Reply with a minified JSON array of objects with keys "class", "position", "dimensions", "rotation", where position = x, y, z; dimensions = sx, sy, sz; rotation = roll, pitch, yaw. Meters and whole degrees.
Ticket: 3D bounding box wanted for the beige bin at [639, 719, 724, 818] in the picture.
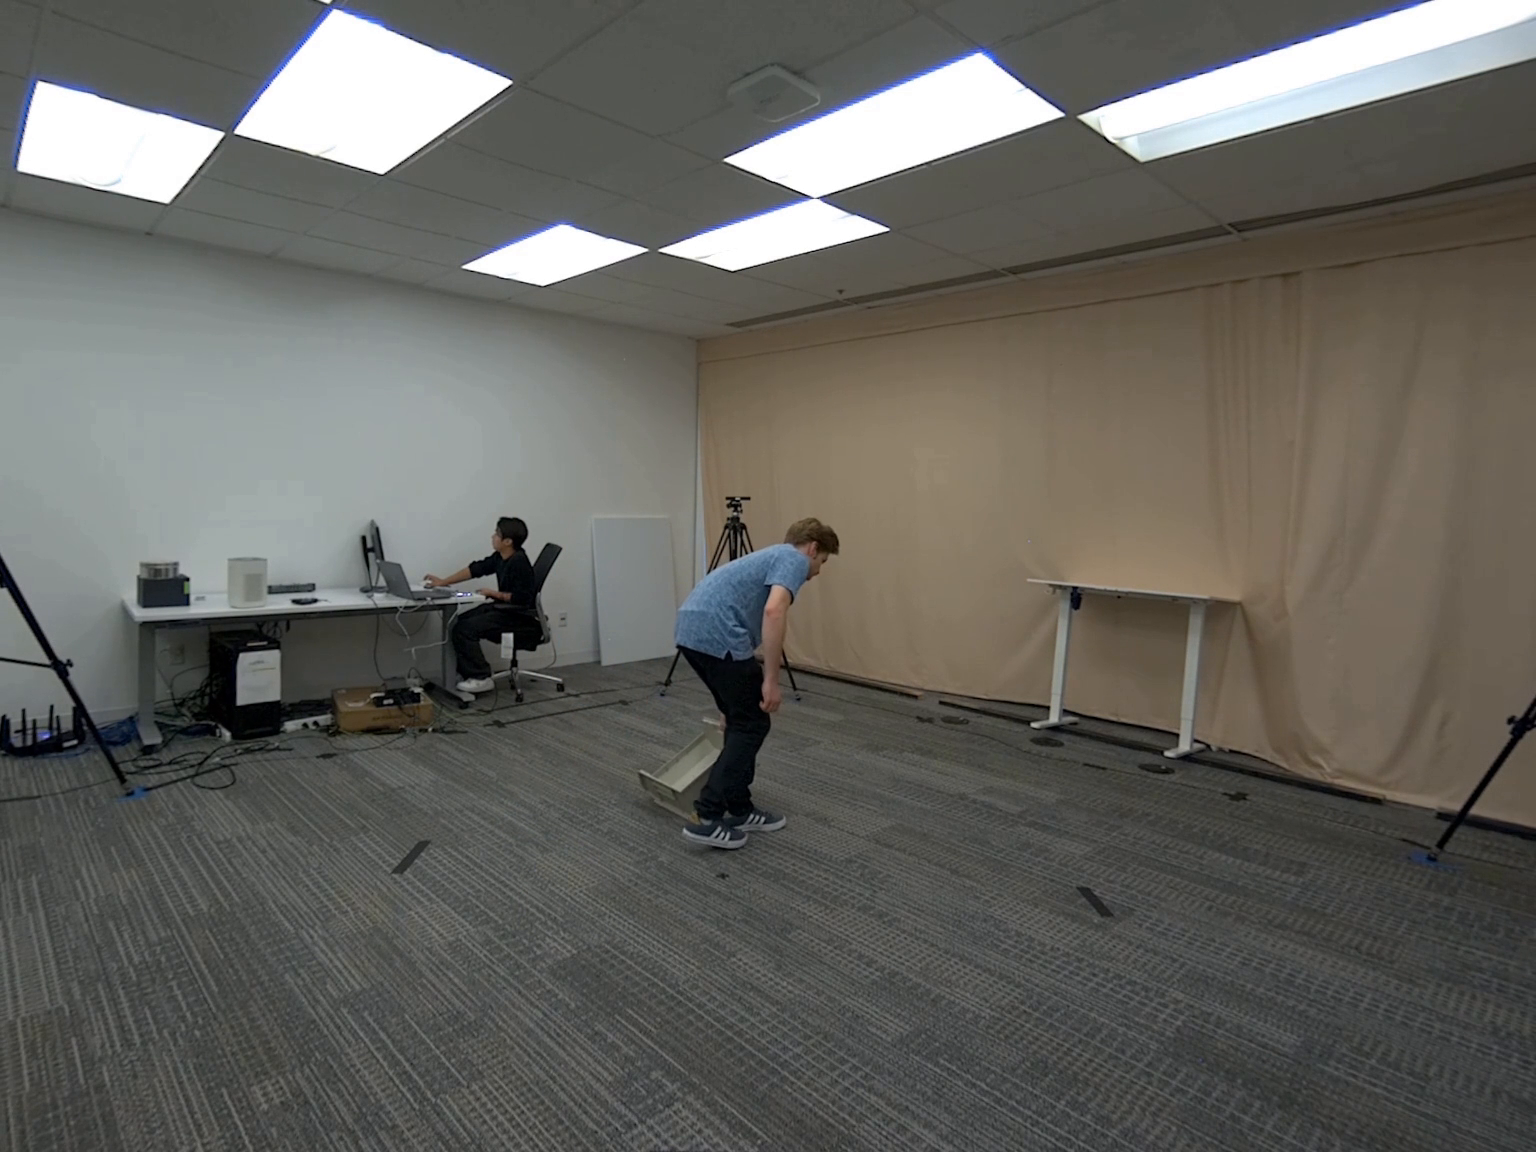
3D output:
[{"class":"beige bin","position":[-0.329,0.863,3.824],"dimensions":[0.419,0.185,0.387],"rotation":[-35,26,-32]}]
